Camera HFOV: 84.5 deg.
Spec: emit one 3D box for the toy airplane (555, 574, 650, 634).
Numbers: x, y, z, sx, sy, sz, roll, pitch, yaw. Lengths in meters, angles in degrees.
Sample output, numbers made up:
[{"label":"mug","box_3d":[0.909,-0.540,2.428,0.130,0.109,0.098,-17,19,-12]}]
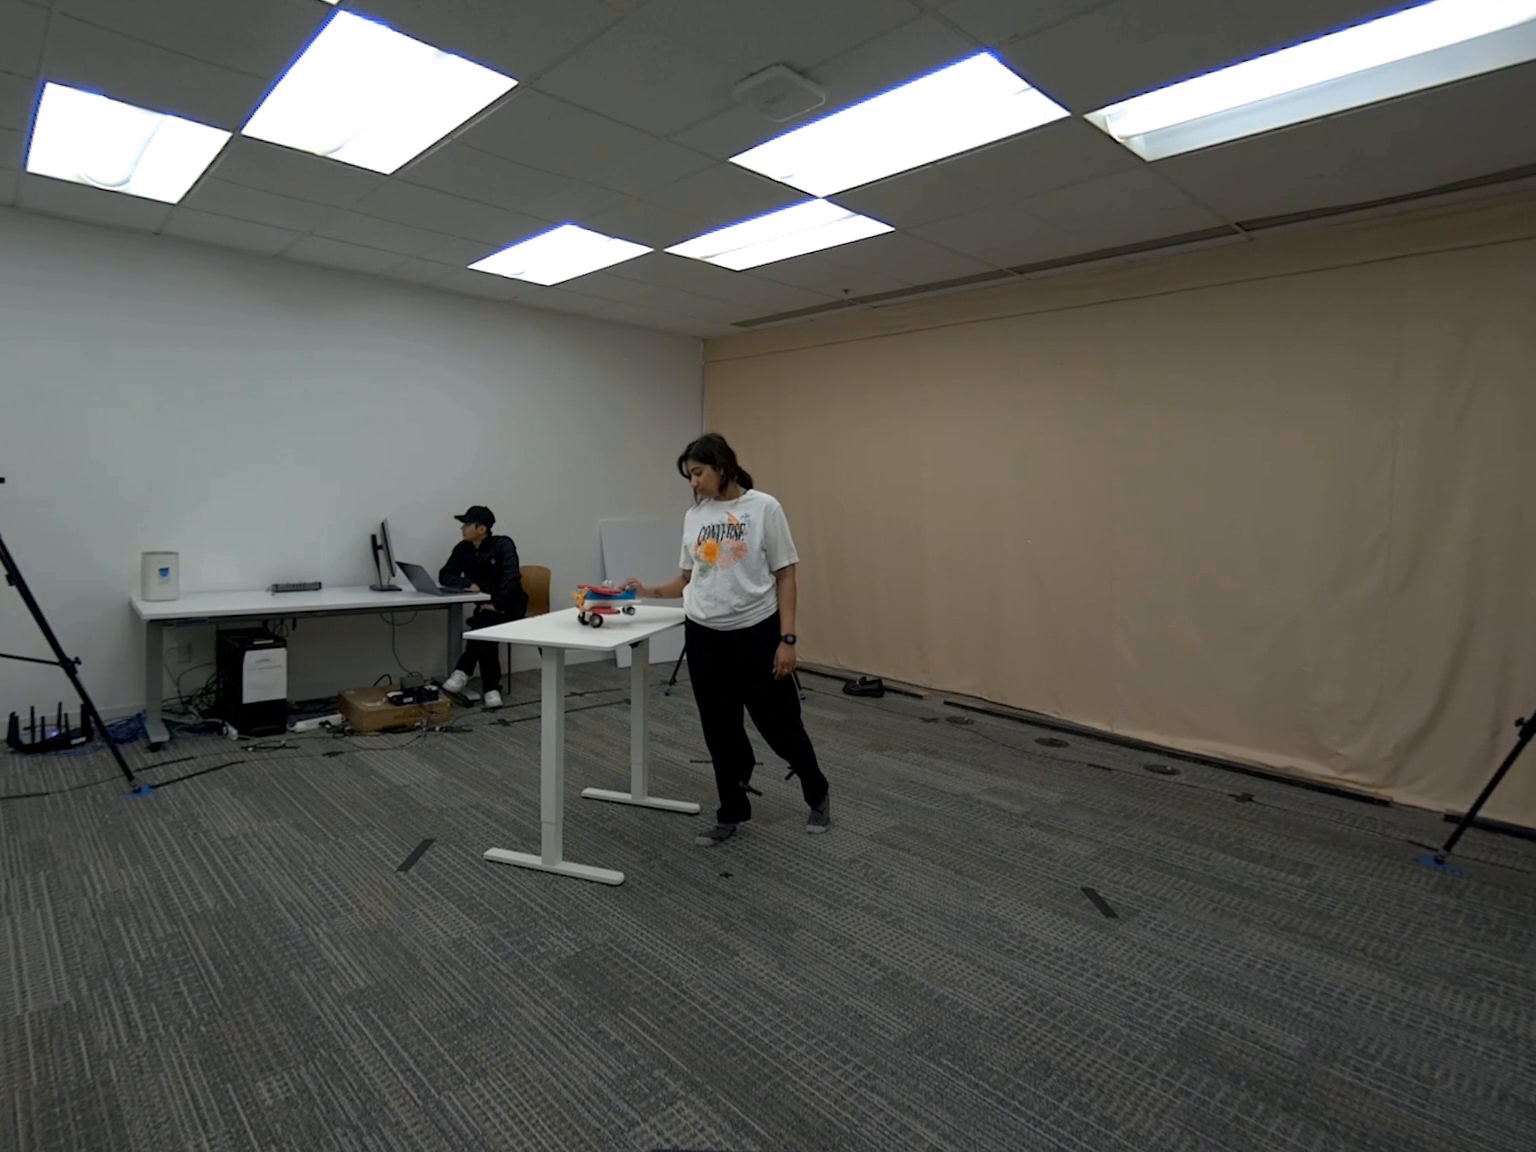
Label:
[{"label":"toy airplane","box_3d":[-0.645,0.104,3.310,0.255,0.155,0.257,-3,12,21]}]
